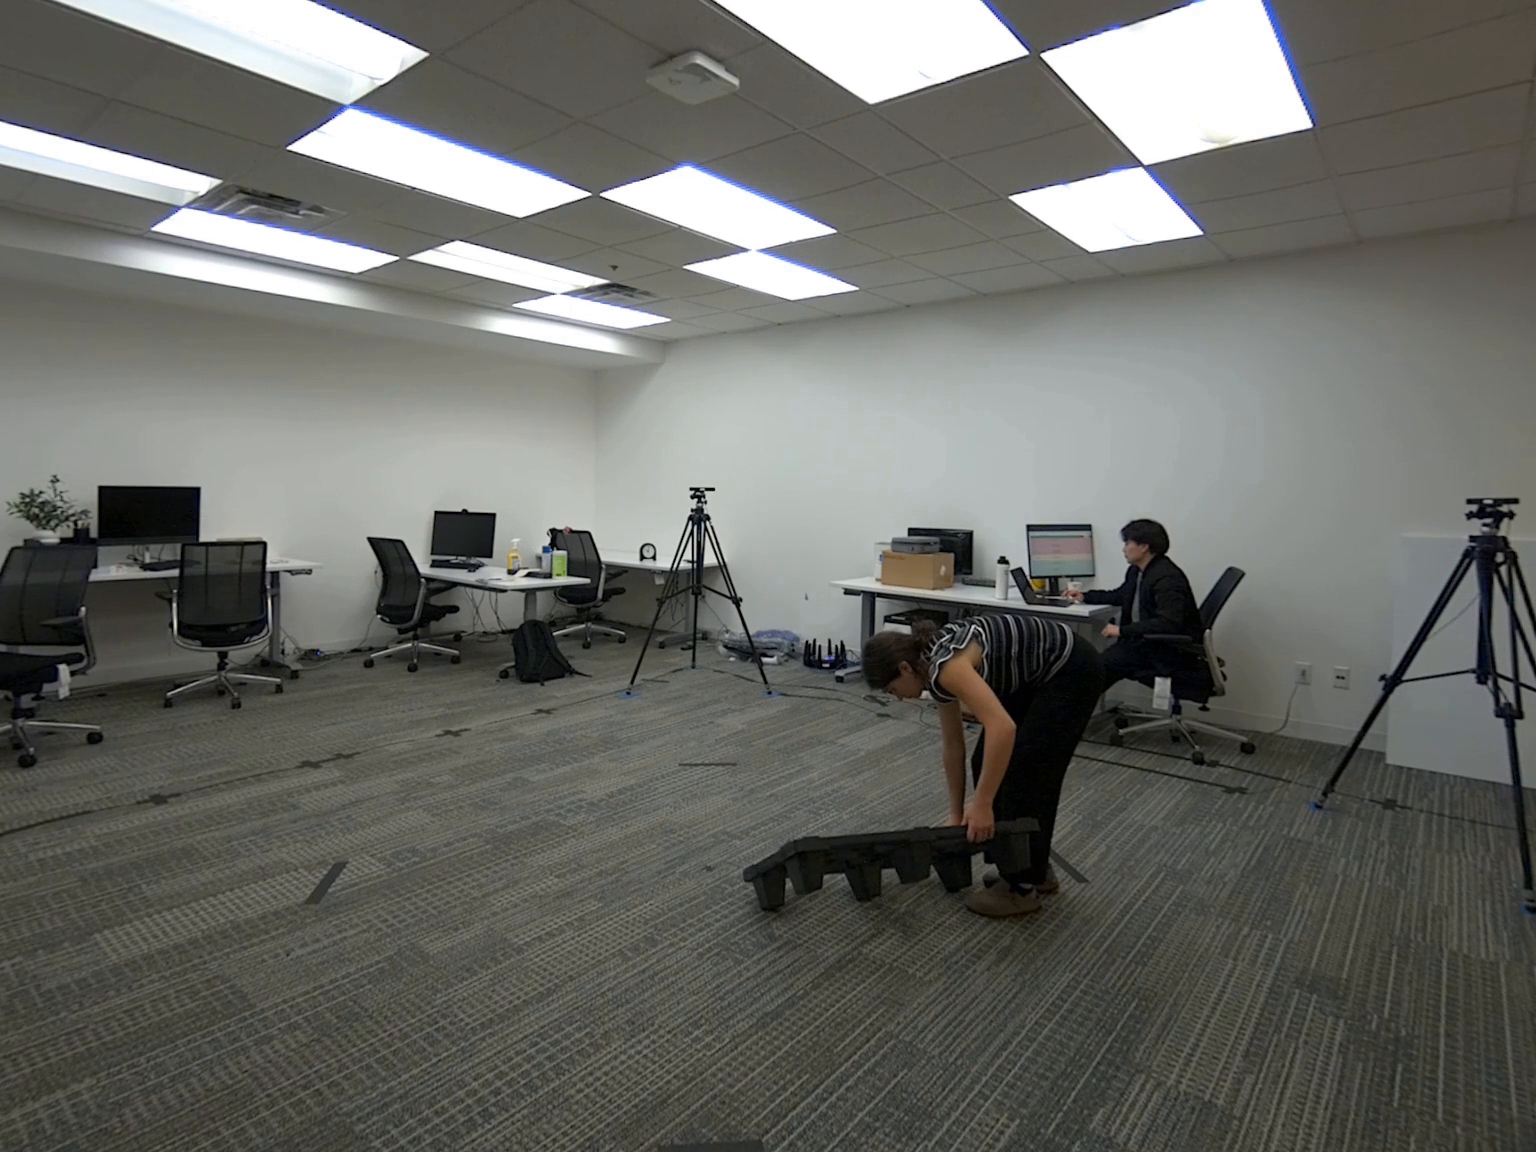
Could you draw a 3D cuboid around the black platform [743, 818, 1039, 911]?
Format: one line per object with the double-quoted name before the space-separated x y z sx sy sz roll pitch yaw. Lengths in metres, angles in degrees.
"black platform" 0.379 0.941 2.731 0.793 0.147 0.598 -1 -27 -16
